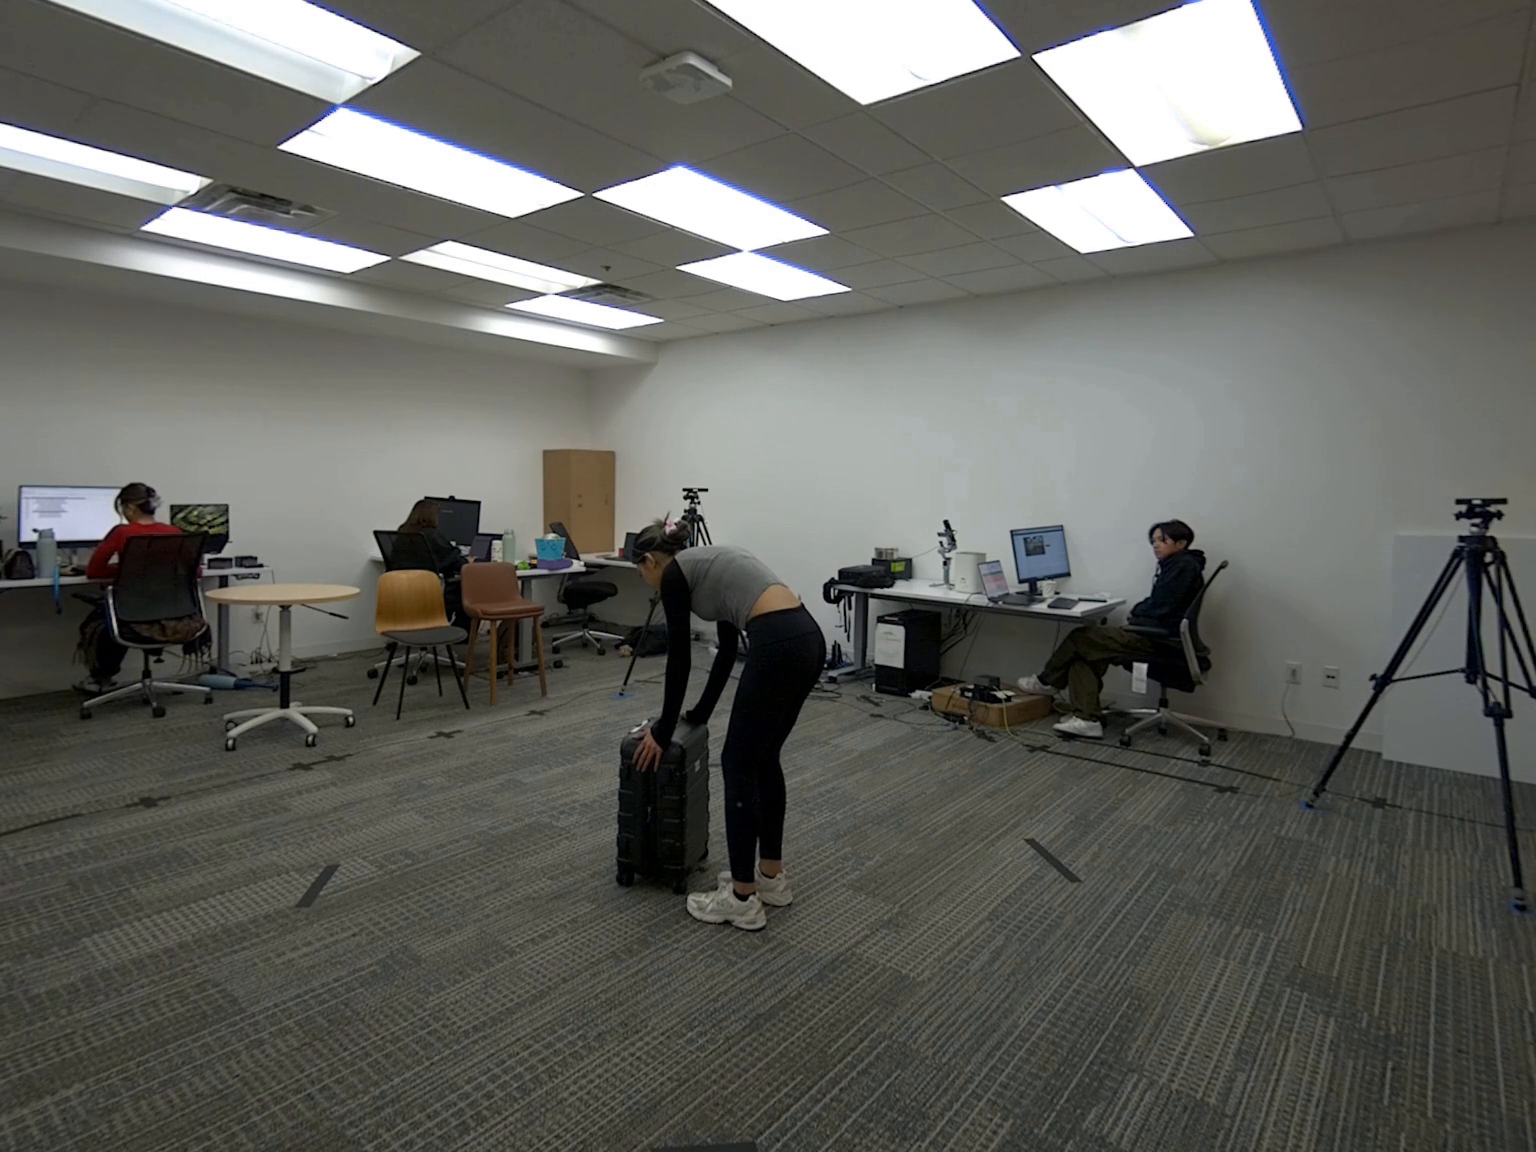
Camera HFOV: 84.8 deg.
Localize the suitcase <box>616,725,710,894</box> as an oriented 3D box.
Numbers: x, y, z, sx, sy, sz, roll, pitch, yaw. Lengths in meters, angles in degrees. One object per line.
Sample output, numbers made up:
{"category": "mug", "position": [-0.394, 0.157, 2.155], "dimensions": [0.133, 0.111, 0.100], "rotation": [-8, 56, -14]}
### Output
{"category": "suitcase", "position": [-0.384, 0.796, 3.066], "dimensions": [0.252, 0.548, 0.371], "rotation": [3, 4, 12]}
